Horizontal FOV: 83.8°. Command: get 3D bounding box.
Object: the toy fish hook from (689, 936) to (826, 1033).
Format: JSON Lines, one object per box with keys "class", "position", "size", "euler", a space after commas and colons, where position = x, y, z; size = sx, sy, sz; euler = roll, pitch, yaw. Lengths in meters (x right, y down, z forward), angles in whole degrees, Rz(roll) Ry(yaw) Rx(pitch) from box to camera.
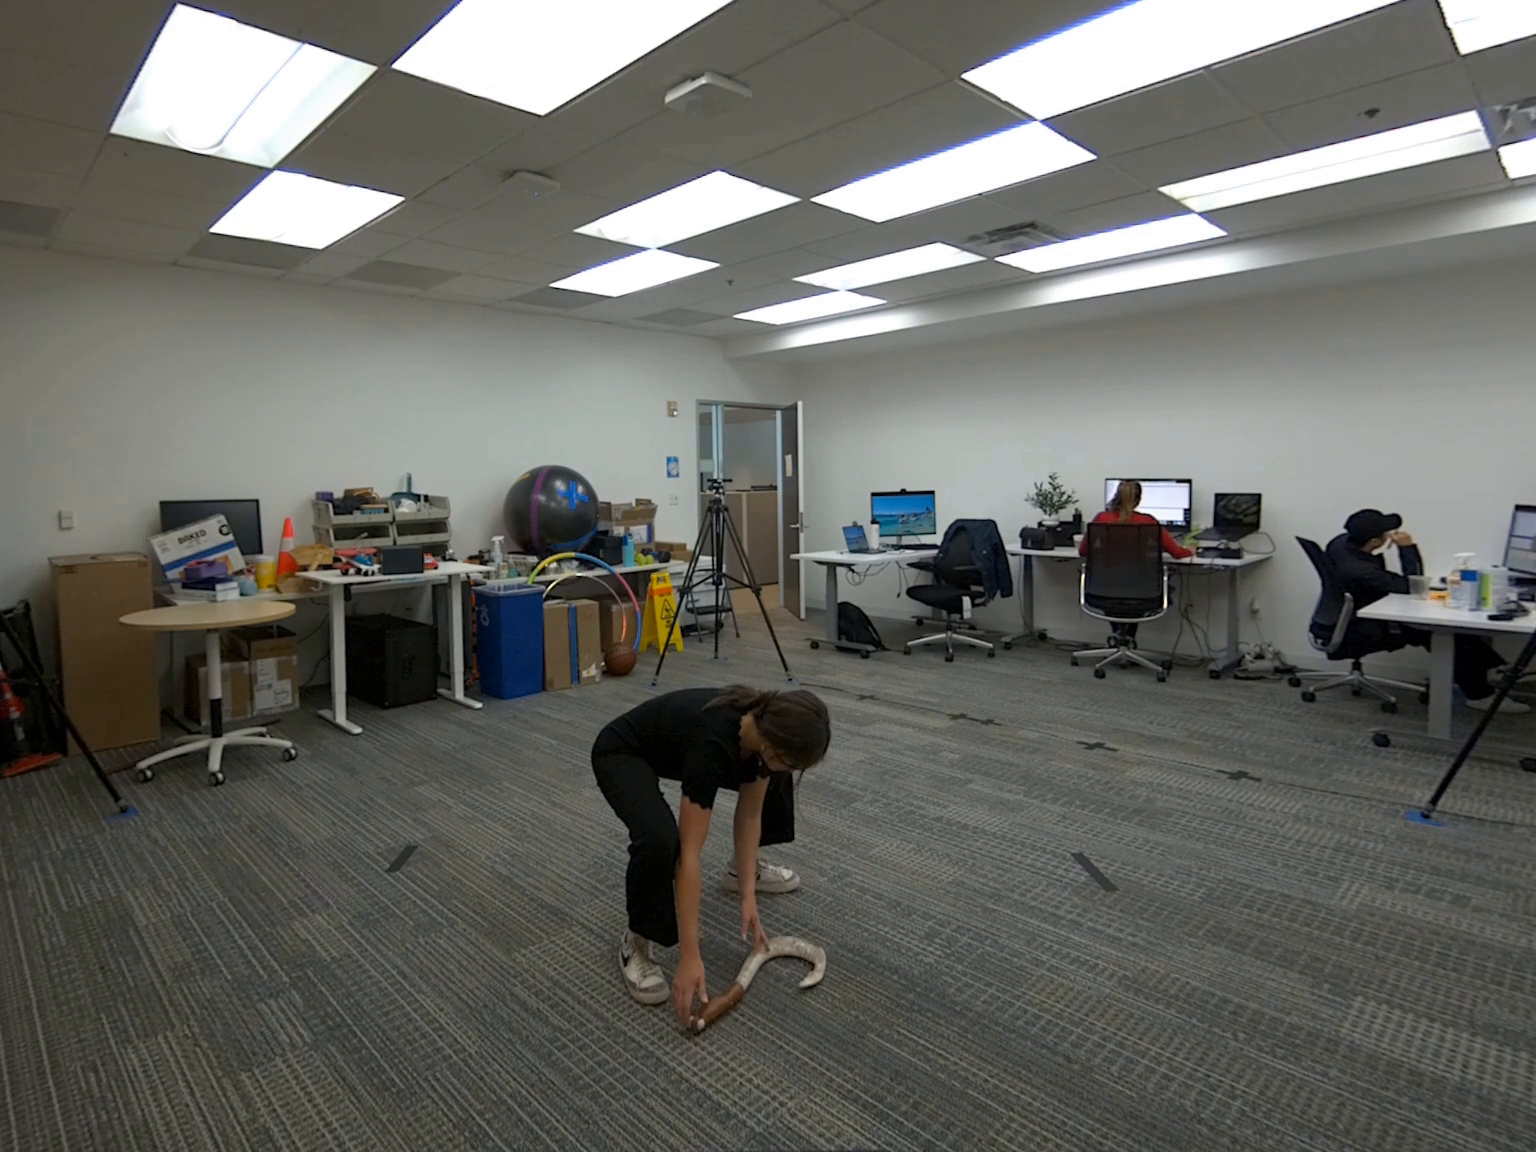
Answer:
{"class": "toy fish hook", "position": [-0.002, 1.115, 2.332], "size": [0.230, 0.048, 0.495], "euler": [-2, 5, 34]}
